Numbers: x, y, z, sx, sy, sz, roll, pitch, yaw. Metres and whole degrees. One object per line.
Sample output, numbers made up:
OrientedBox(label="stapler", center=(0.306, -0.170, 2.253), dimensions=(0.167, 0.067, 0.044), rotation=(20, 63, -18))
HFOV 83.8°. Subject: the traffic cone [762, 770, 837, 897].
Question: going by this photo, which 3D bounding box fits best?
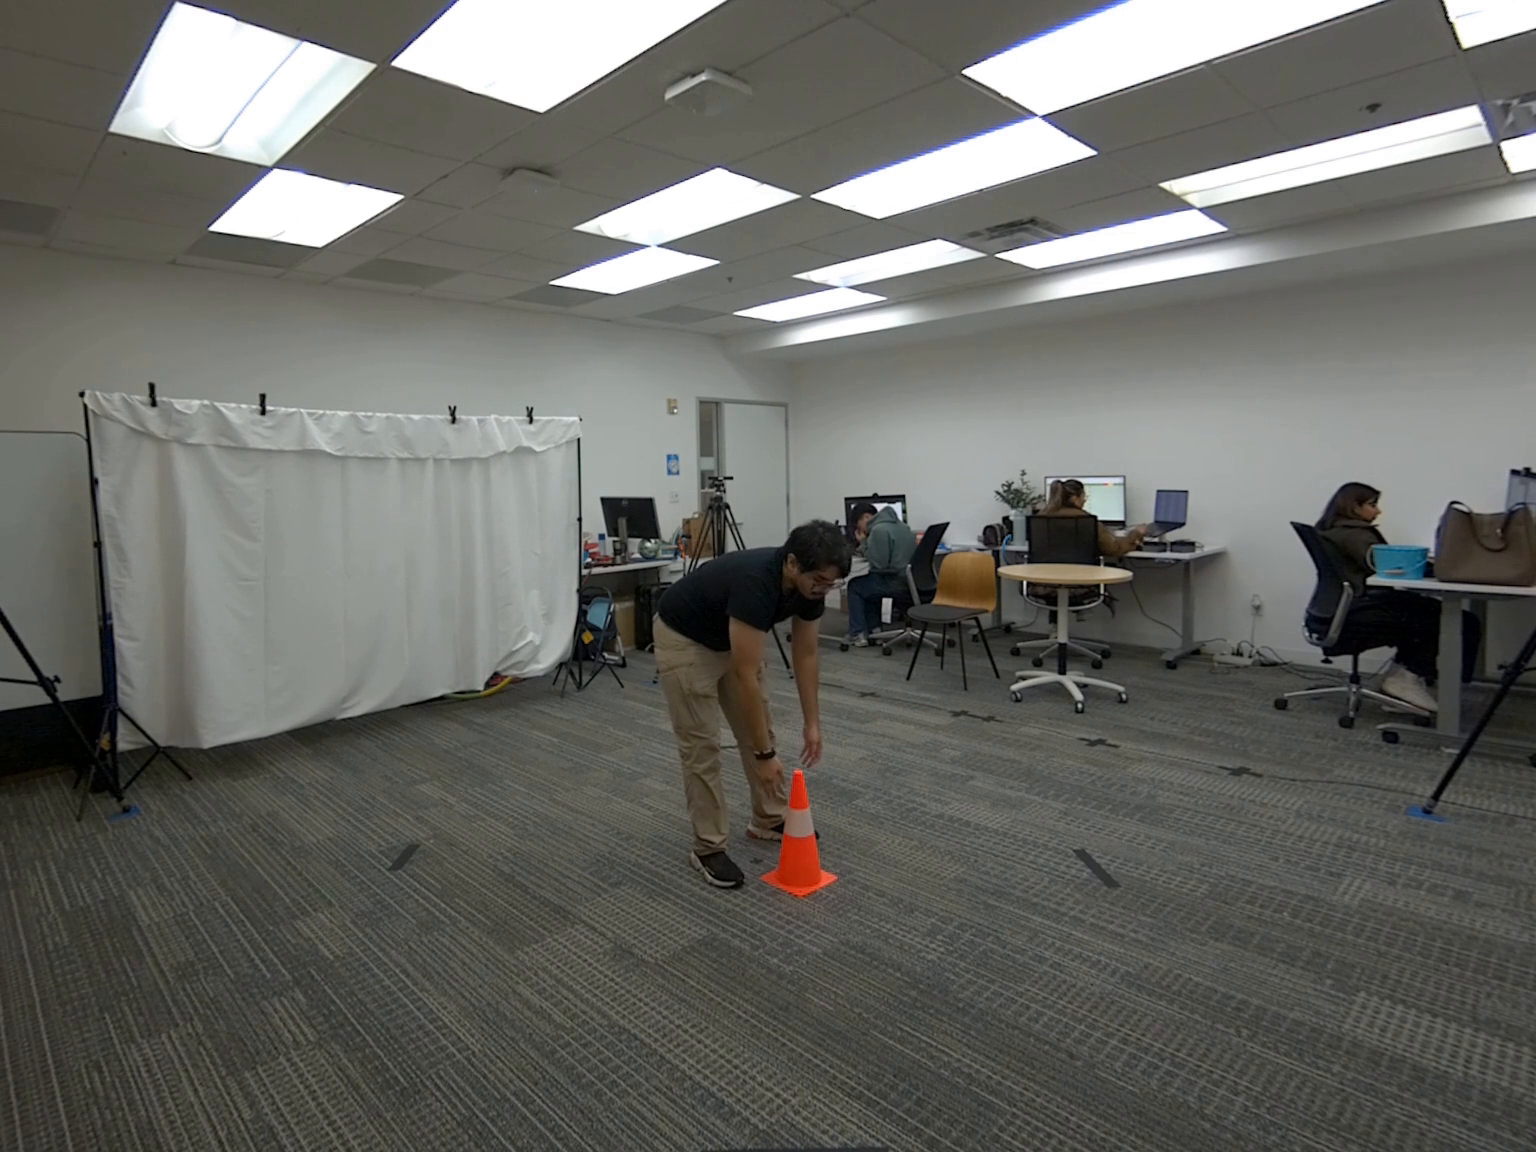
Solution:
OrientedBox(label="traffic cone", center=(0.114, 0.866, 2.956), dimensions=(0.200, 0.382, 0.209), rotation=(-4, 6, -33))
